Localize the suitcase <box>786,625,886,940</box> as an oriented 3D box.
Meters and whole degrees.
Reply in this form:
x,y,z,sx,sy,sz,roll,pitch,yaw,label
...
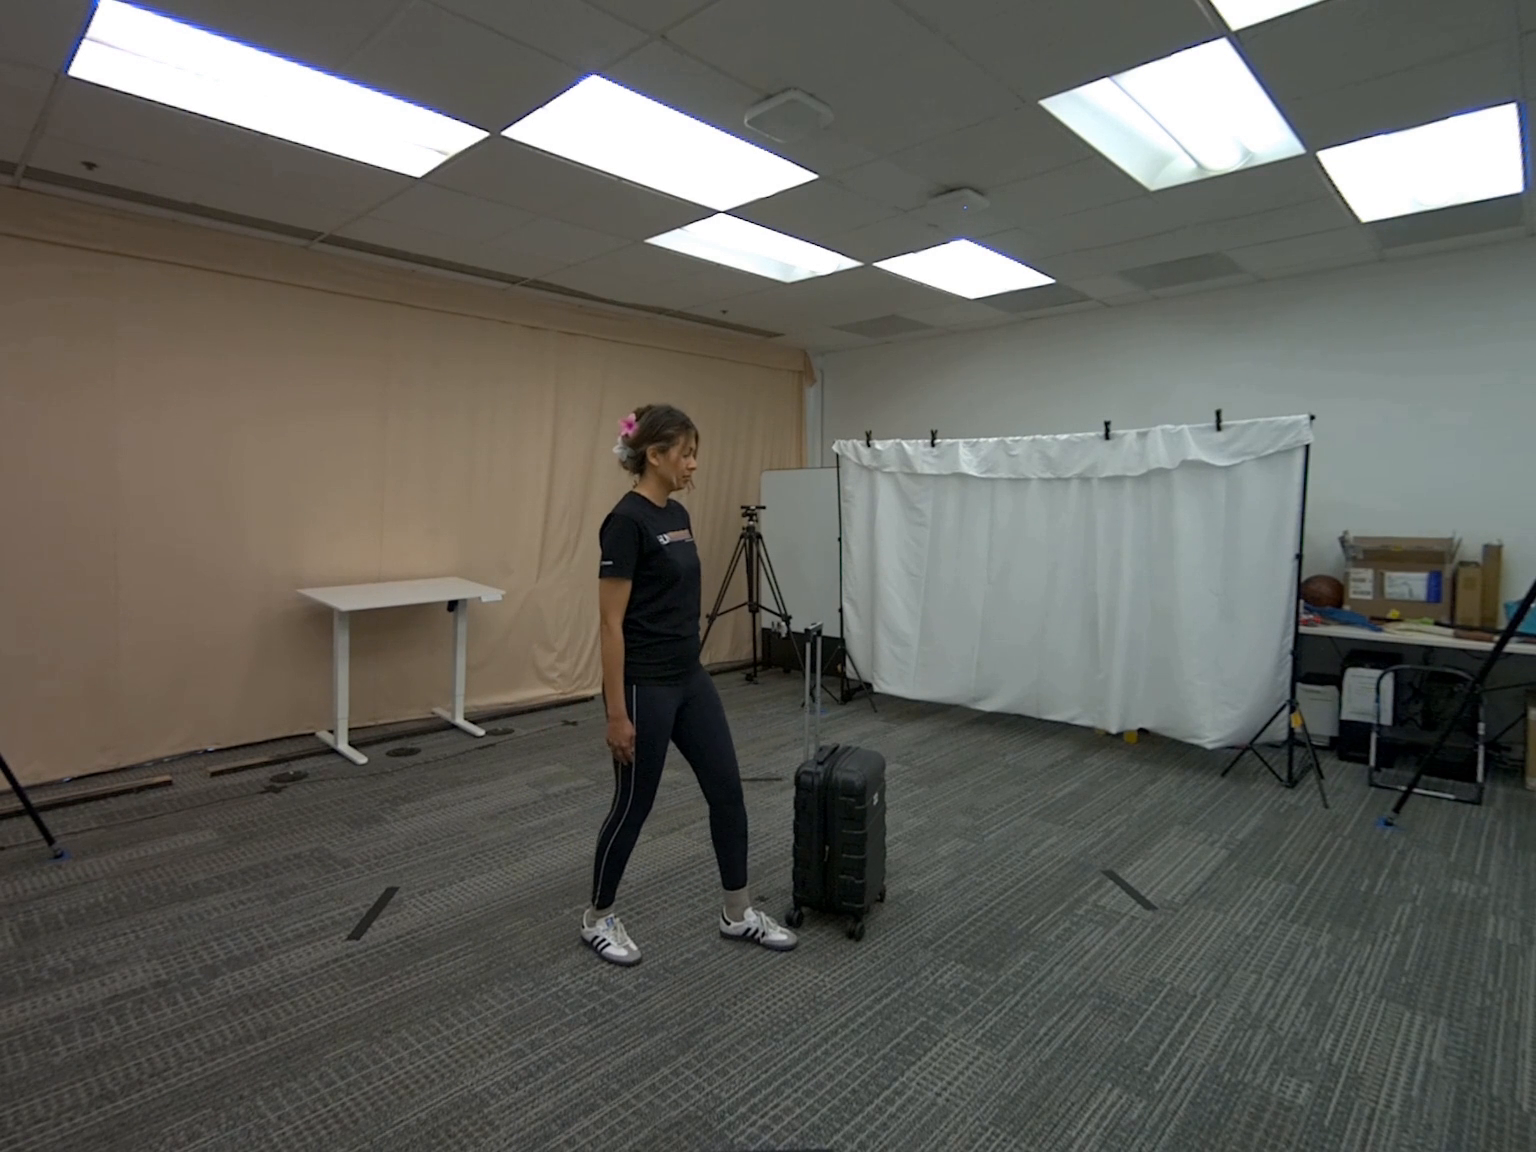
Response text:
x,y,z,sx,sy,sz,roll,pitch,yaw,label
0.262,0.676,2.878,0.263,0.977,0.376,3,3,21,suitcase
